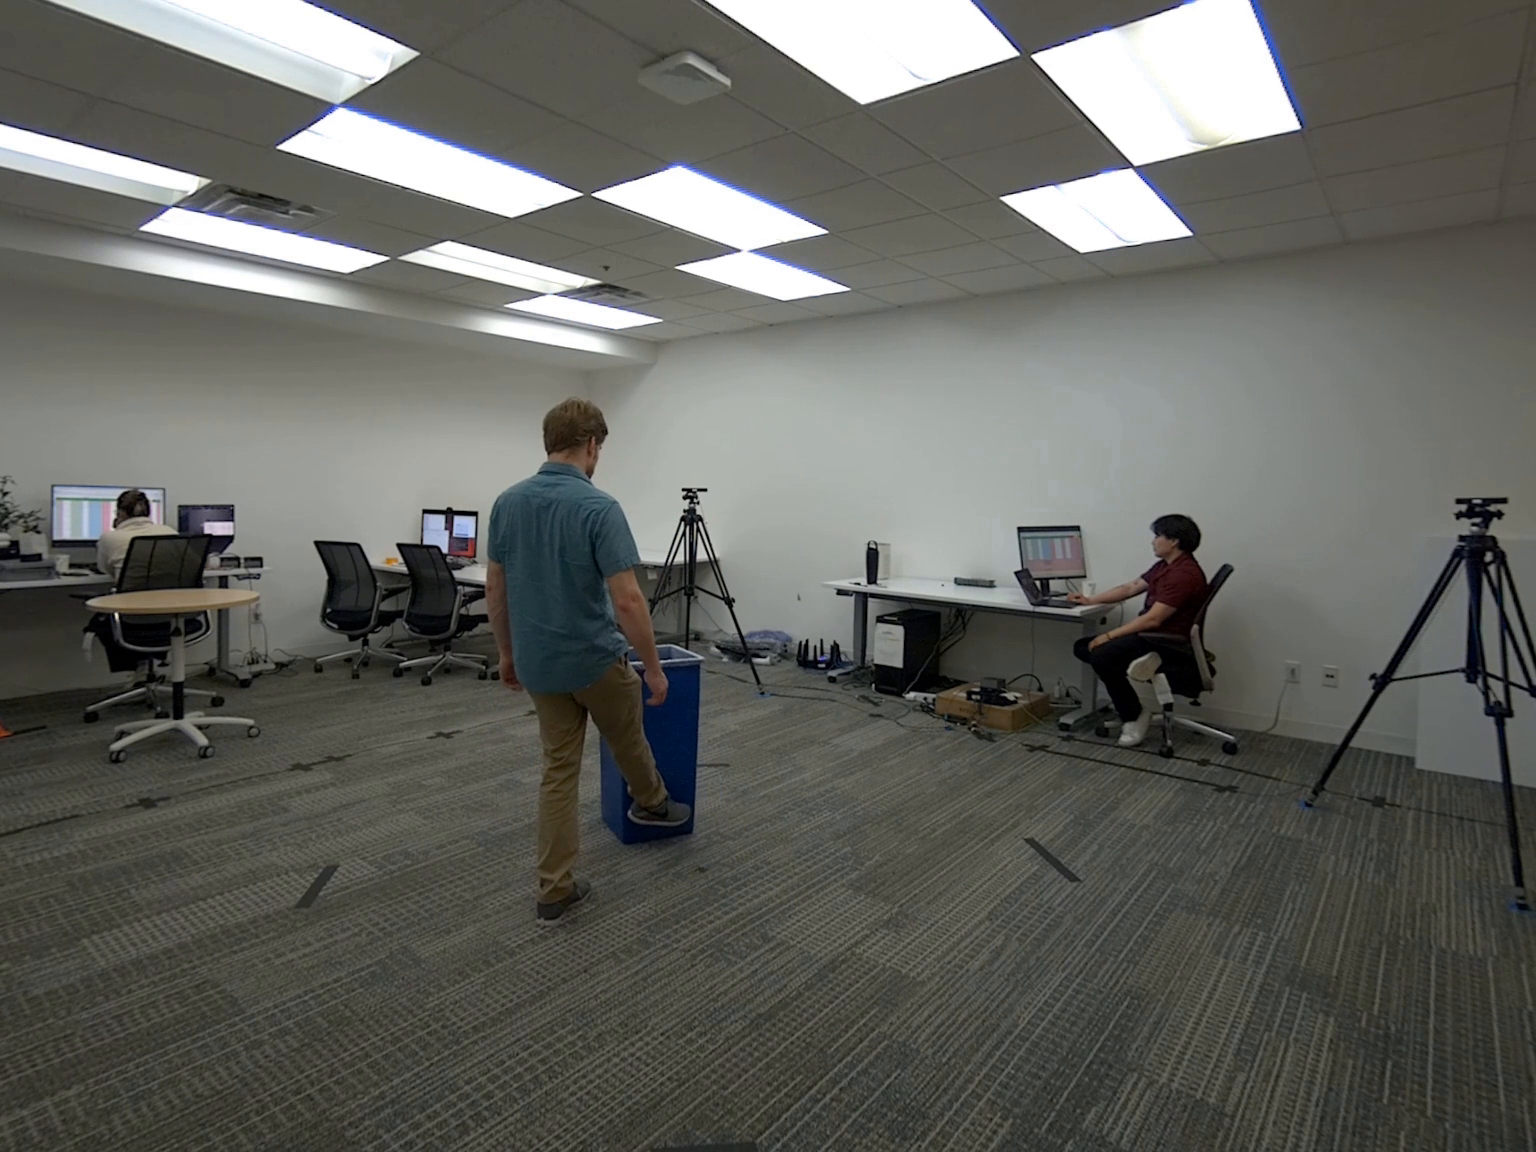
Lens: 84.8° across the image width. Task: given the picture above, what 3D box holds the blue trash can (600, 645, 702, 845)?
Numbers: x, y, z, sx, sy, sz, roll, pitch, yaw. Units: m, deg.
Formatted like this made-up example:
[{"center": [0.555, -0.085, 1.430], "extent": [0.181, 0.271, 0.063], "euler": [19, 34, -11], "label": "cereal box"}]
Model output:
[{"center": [-0.509, 0.669, 3.497], "extent": [0.369, 0.712, 0.384], "euler": [0, 3, -26], "label": "blue trash can"}]
